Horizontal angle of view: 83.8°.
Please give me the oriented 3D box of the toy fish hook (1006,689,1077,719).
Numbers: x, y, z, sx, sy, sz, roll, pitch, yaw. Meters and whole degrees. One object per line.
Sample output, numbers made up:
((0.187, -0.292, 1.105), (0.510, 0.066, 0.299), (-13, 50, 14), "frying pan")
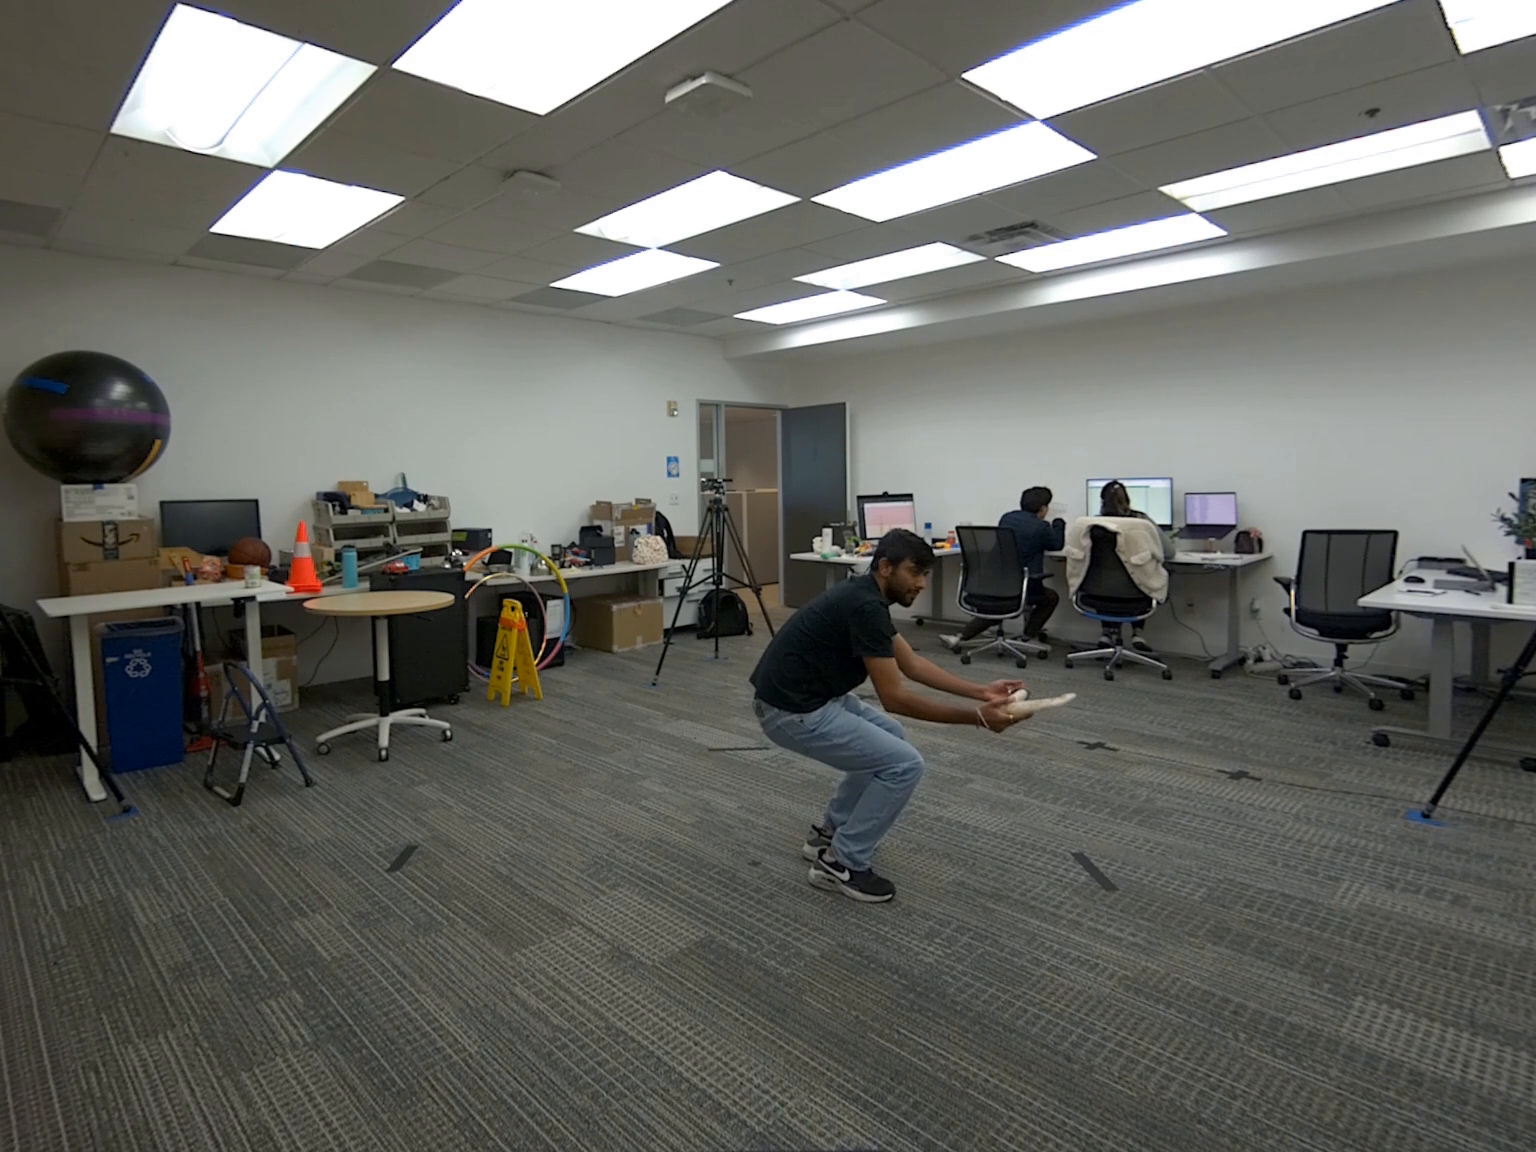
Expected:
((0.879, 0.392, 2.845), (0.228, 0.048, 0.499), (-7, 0, 16), "toy fish hook")
